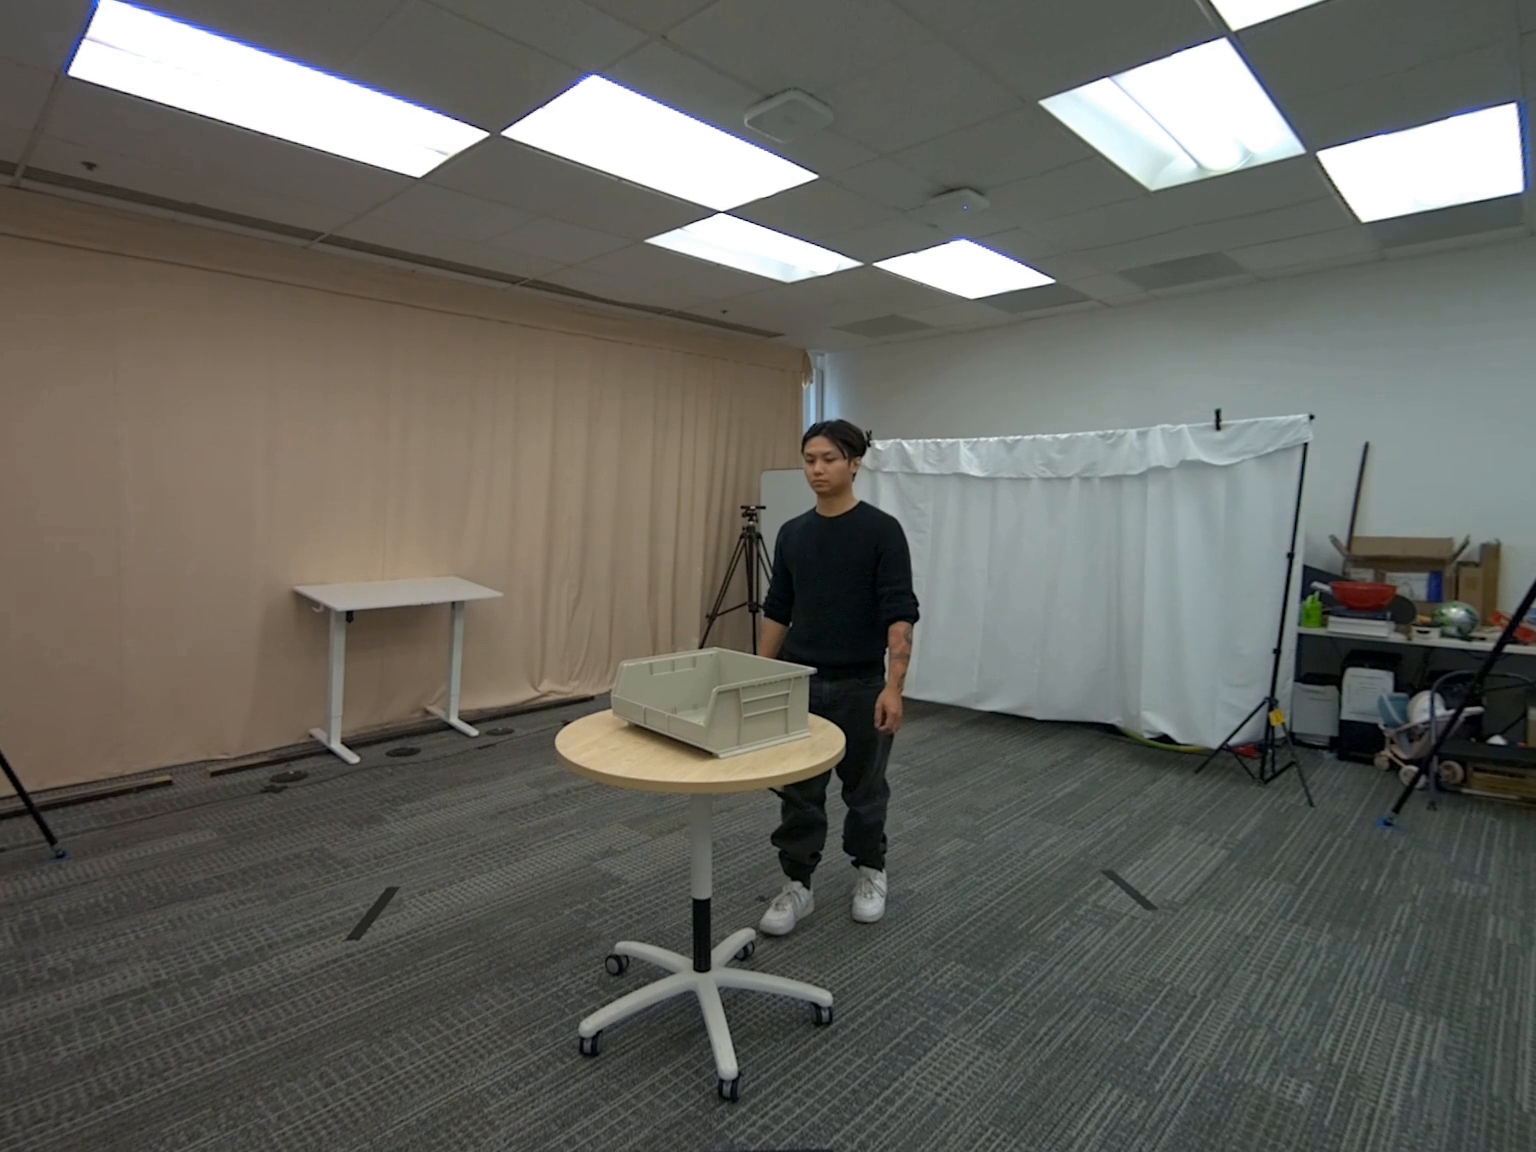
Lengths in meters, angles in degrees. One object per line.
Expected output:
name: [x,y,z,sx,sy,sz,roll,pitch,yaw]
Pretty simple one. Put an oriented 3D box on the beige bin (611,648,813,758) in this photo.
beige bin: [-0.148,0.328,2.269,0.366,0.188,0.436,-2,5,-41]
